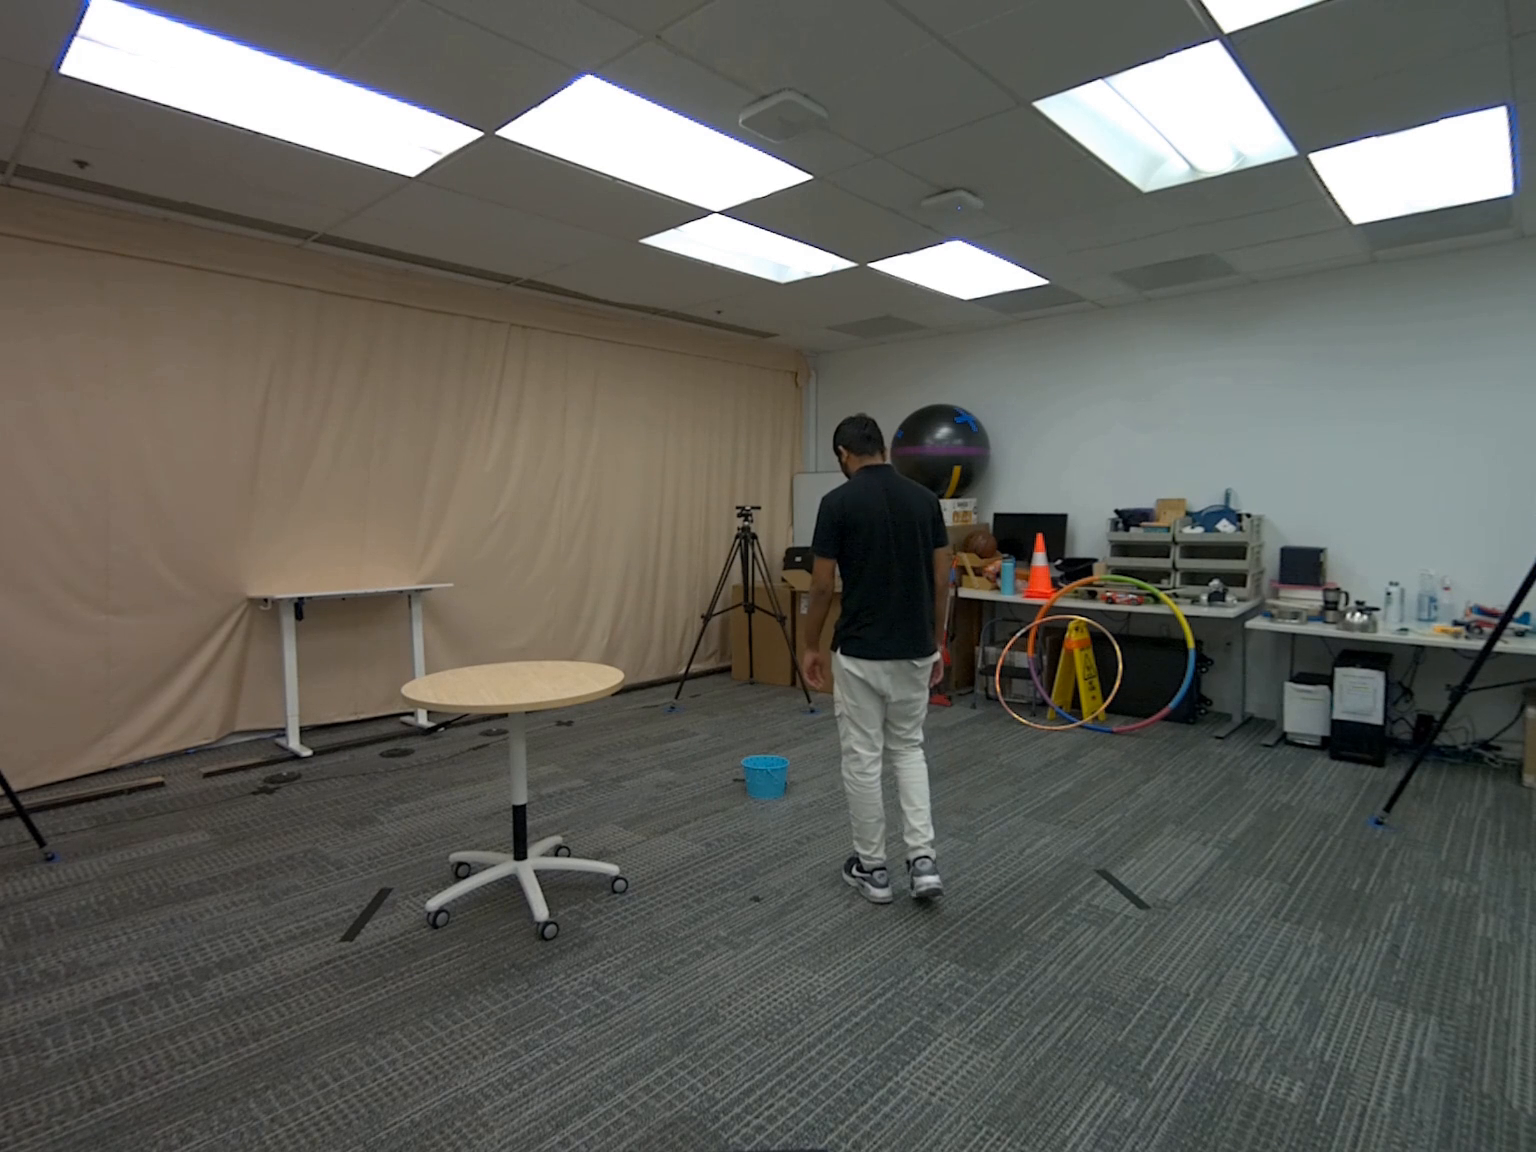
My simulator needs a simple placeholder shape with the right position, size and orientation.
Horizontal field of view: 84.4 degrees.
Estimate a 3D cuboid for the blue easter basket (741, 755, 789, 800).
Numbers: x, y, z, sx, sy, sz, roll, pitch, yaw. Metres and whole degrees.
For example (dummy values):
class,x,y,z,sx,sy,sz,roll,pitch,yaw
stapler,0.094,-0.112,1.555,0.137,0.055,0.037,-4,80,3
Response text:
class,x,y,z,sx,sy,sz,roll,pitch,yaw
blue easter basket,-0.013,0.975,4.094,0.243,0.155,0.244,0,4,-2
